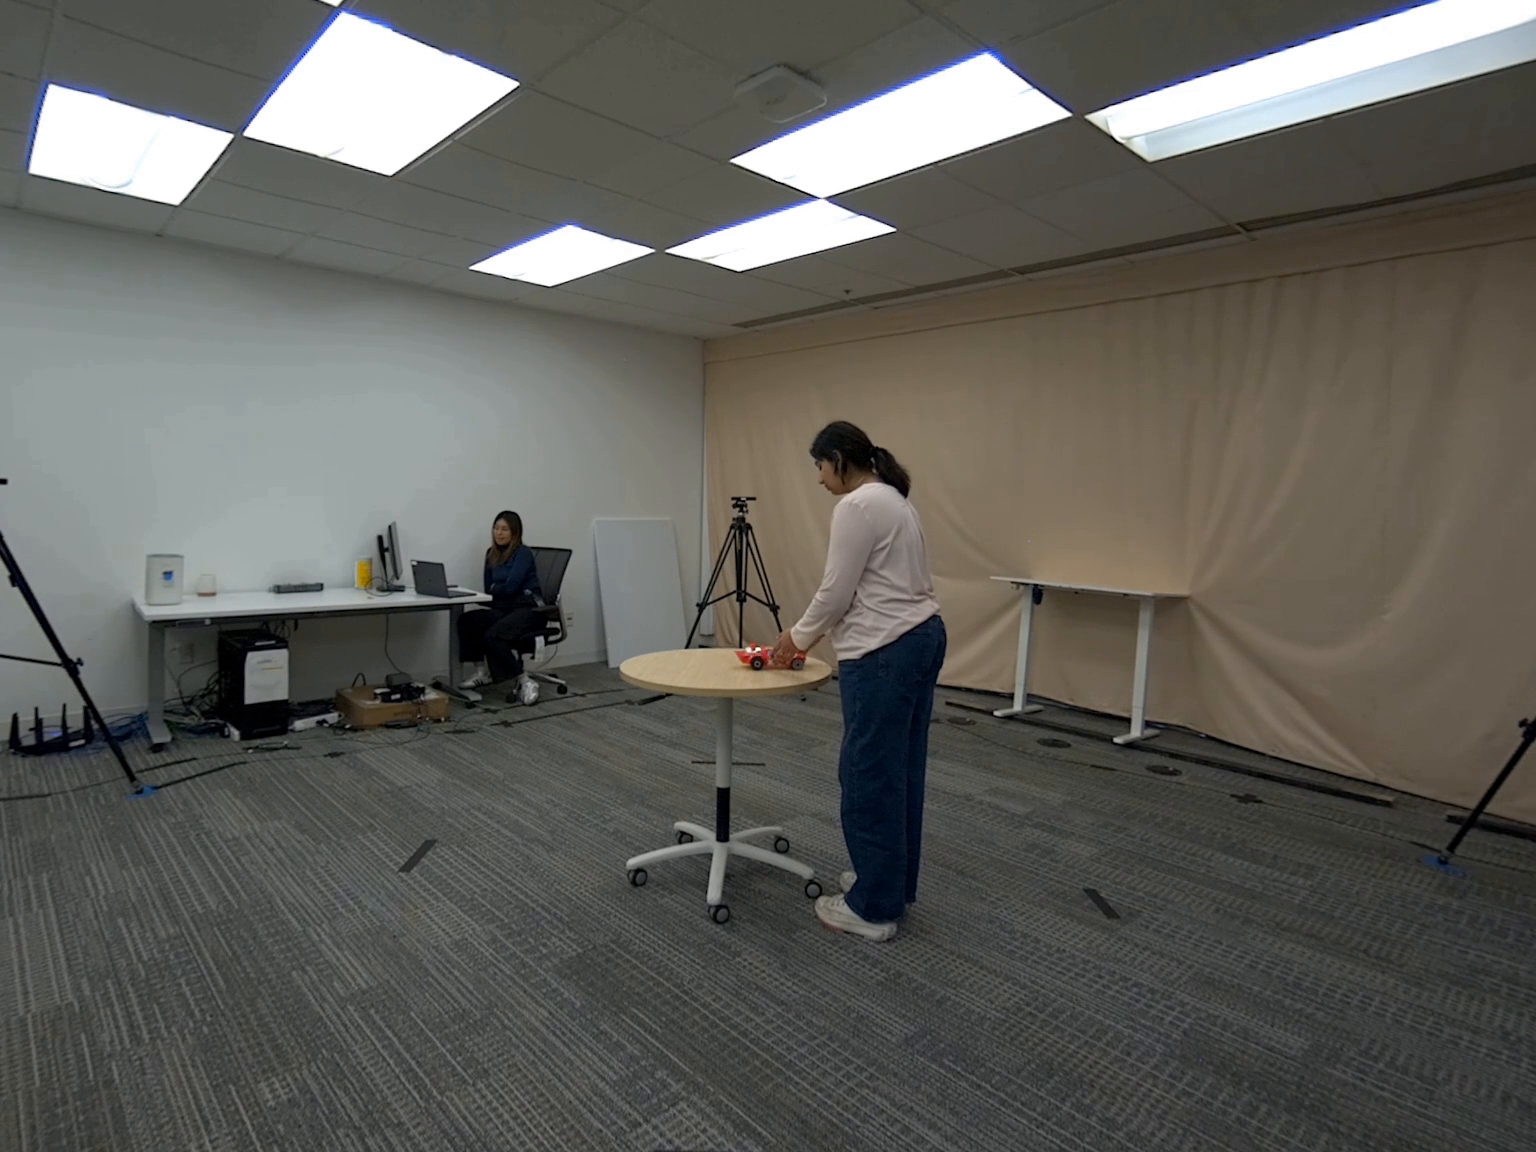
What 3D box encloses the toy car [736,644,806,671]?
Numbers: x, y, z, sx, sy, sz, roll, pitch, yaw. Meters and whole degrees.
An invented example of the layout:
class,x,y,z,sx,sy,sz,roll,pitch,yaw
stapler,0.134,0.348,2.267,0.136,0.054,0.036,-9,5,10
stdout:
class,x,y,z,sx,sy,sz,roll,pitch,yaw
toy car,-0.004,0.298,3.039,0.253,0.083,0.131,12,3,-7
